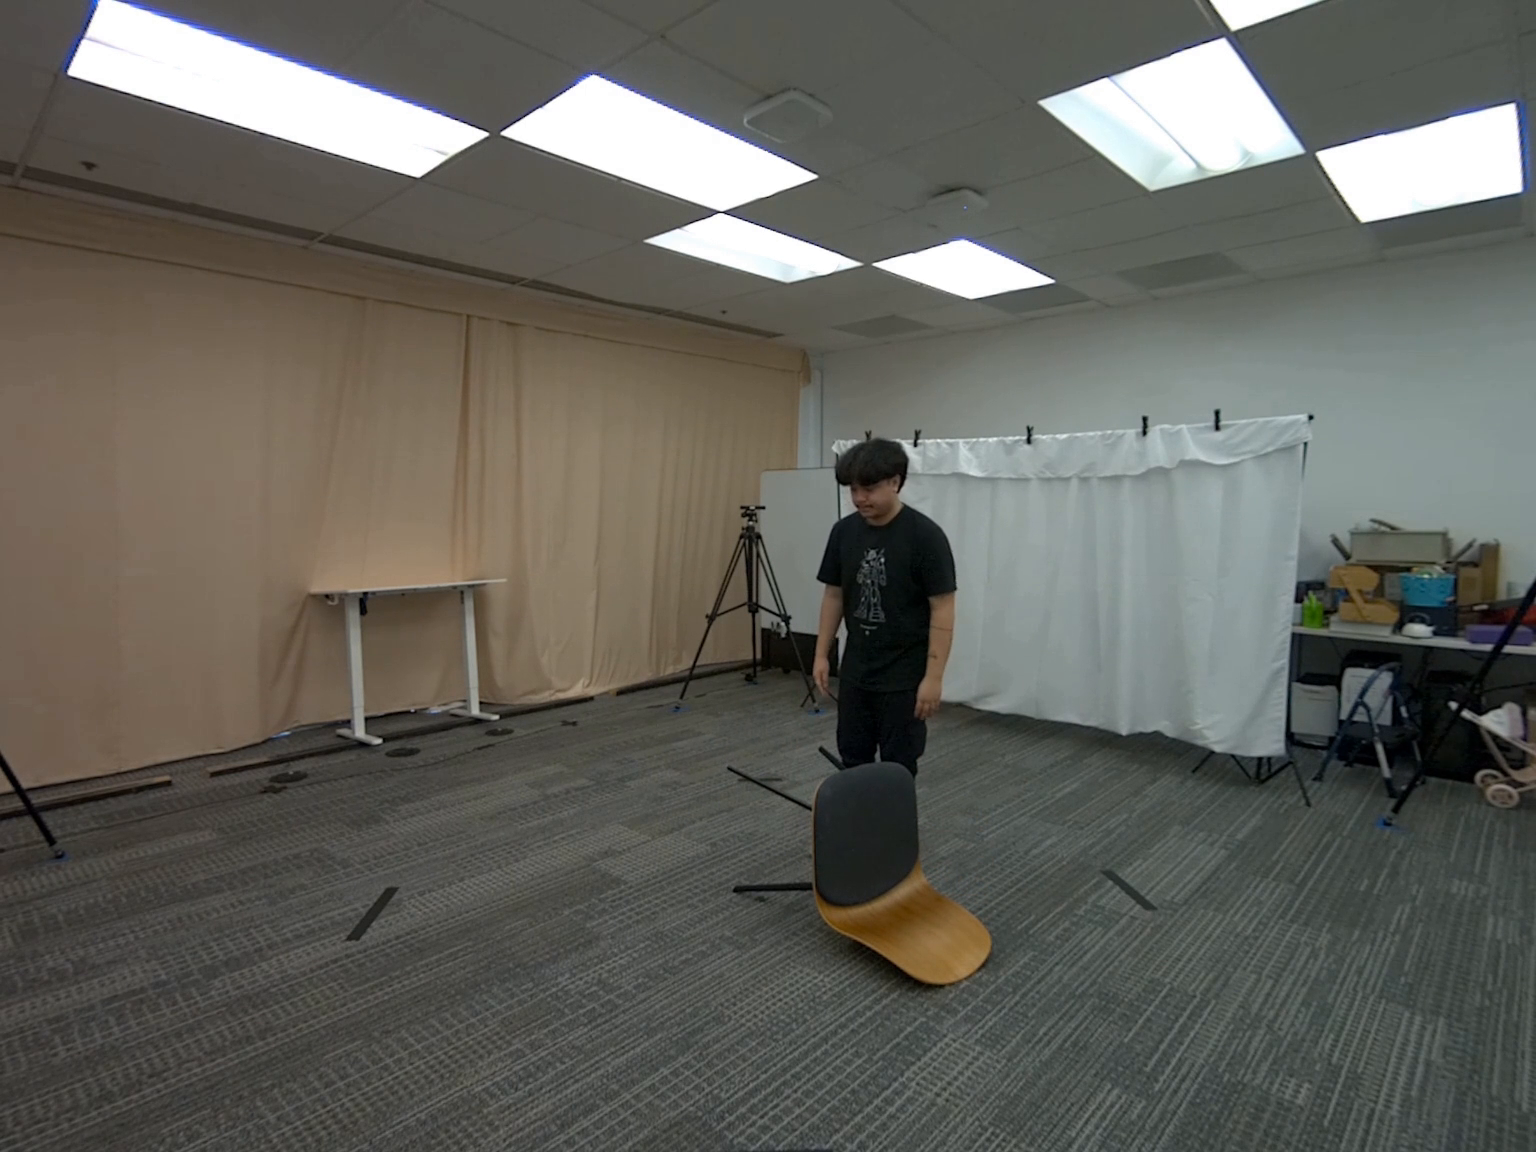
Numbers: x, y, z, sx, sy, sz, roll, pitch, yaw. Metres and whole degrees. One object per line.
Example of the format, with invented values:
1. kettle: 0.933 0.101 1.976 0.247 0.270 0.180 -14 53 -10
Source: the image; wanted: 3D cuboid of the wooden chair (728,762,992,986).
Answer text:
1. wooden chair: 0.302 0.903 2.812 0.464 0.522 0.905 -2 5 -36
